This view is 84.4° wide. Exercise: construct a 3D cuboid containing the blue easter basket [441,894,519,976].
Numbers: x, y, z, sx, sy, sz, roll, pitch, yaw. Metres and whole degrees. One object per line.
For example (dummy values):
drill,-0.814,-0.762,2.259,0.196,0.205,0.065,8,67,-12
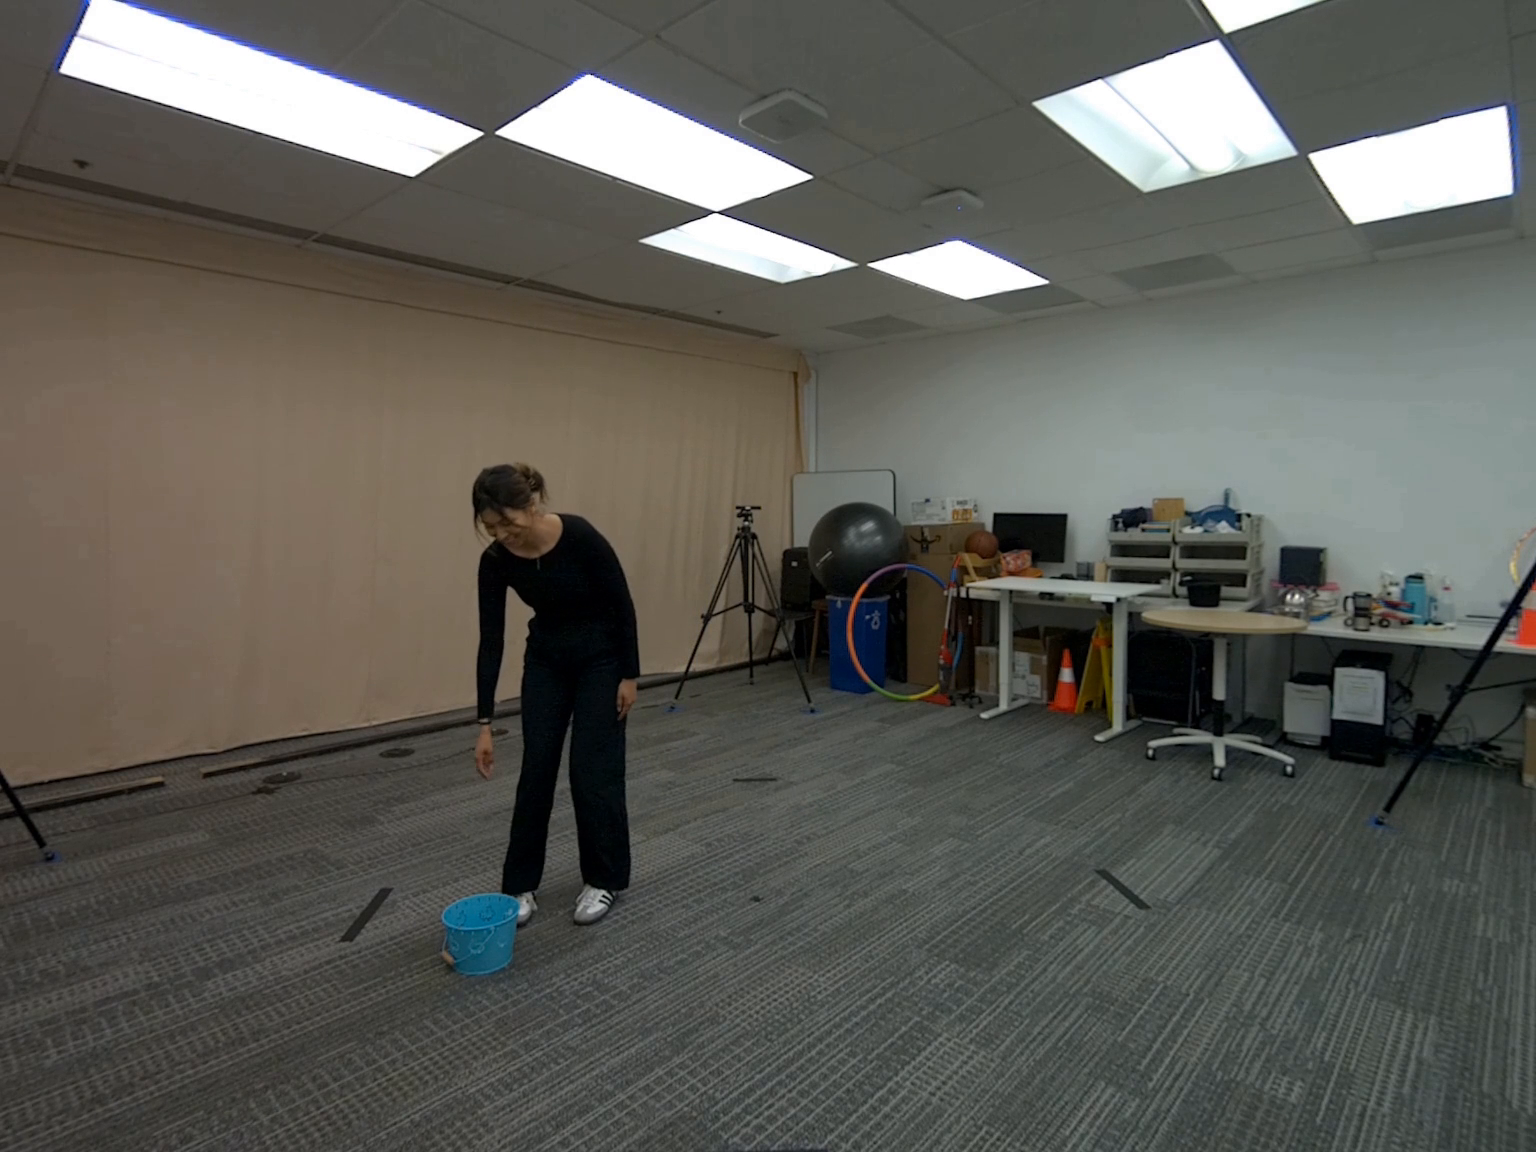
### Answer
blue easter basket,-0.890,1.104,2.599,0.243,0.155,0.244,-1,4,-2
